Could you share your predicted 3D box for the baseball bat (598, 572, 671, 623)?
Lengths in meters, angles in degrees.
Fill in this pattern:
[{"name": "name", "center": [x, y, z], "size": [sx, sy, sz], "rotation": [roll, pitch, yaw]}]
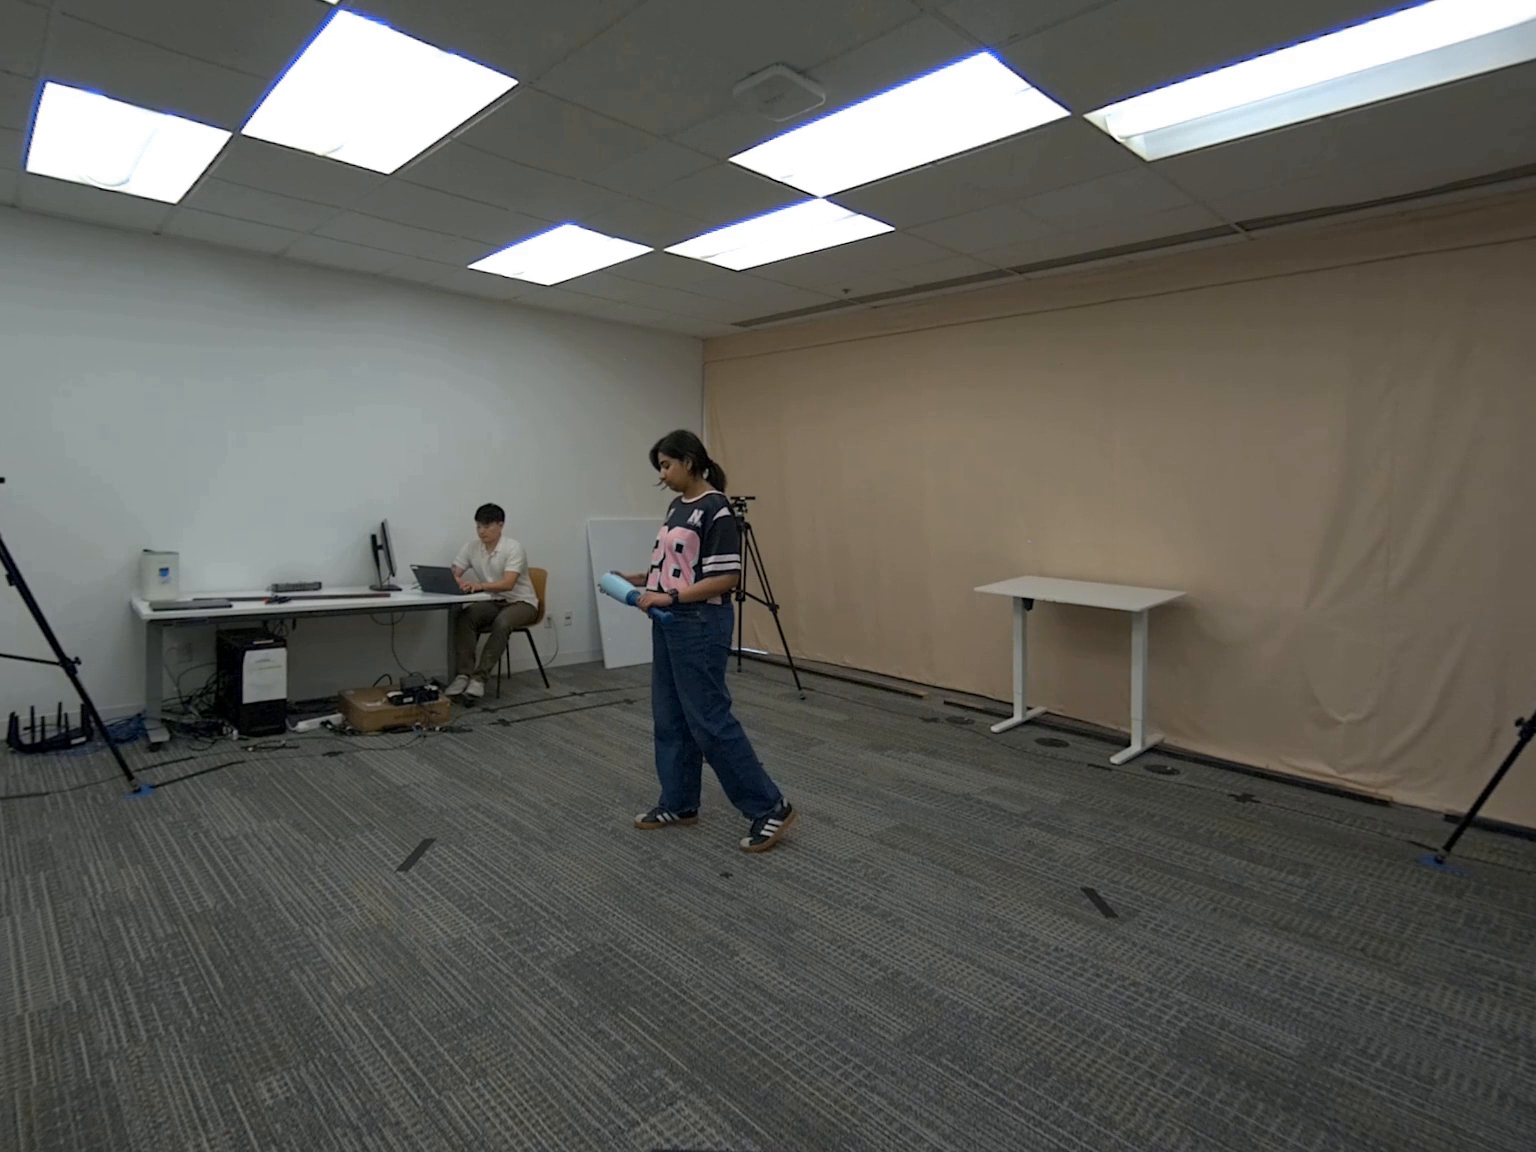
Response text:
[{"name": "baseball bat", "center": [-0.531, 0.094, 3.339], "size": [0.087, 0.088, 0.558], "rotation": [-1, 15, -32]}]
